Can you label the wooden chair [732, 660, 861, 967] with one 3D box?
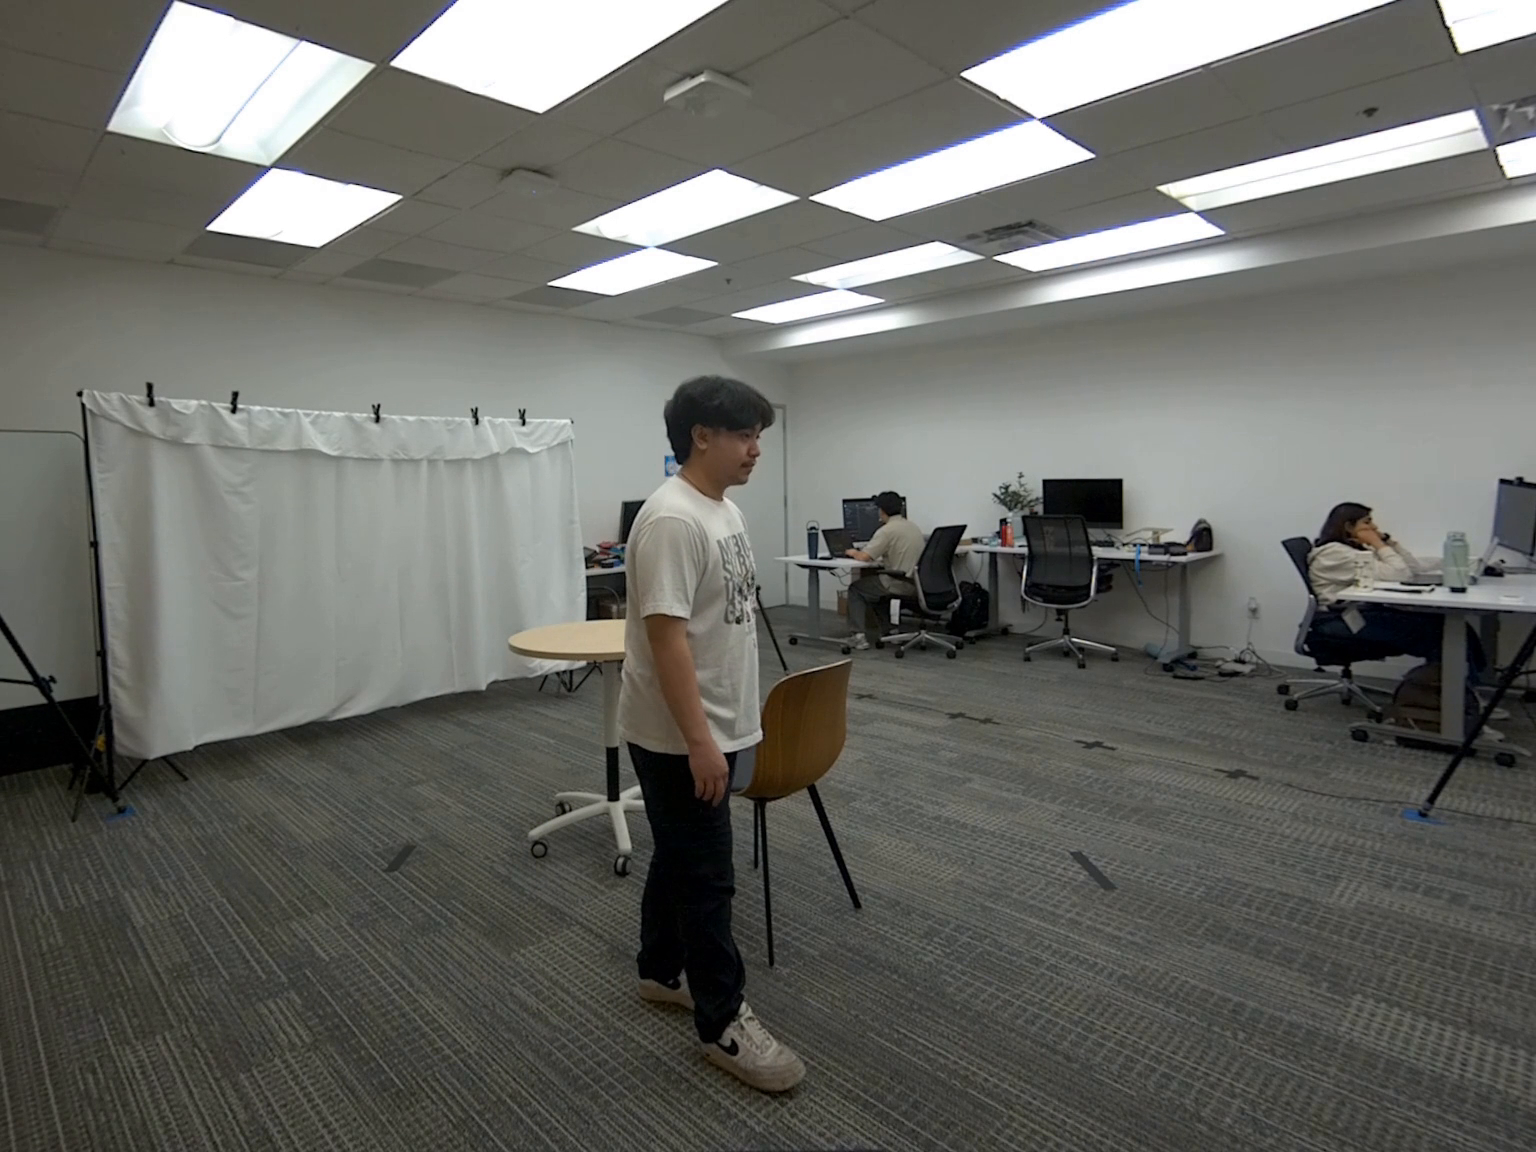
[{"bbox_3d":[-0.024,0.658,2.732,0.540,0.871,0.466,9,11,42],"label":"wooden chair"}]
